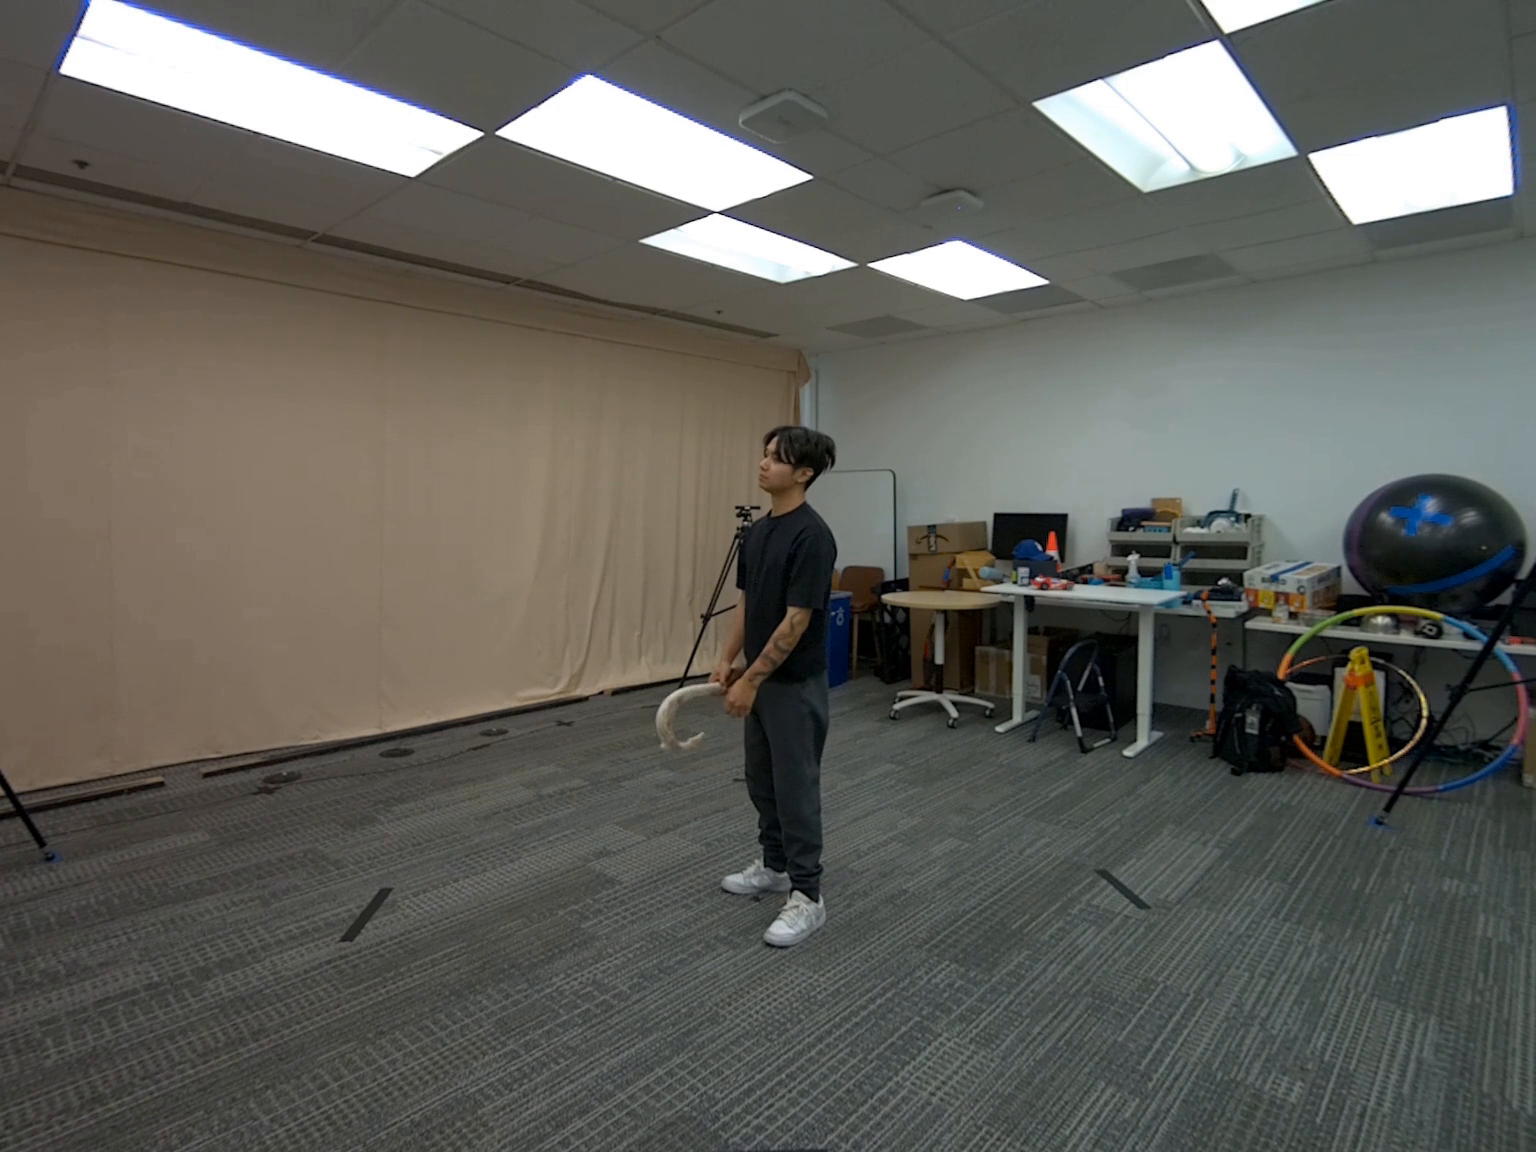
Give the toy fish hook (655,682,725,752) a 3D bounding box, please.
[{"bbox_3d":[-0.205,0.449,2.971,0.050,0.222,0.495,10,25,44],"label":"toy fish hook"}]
